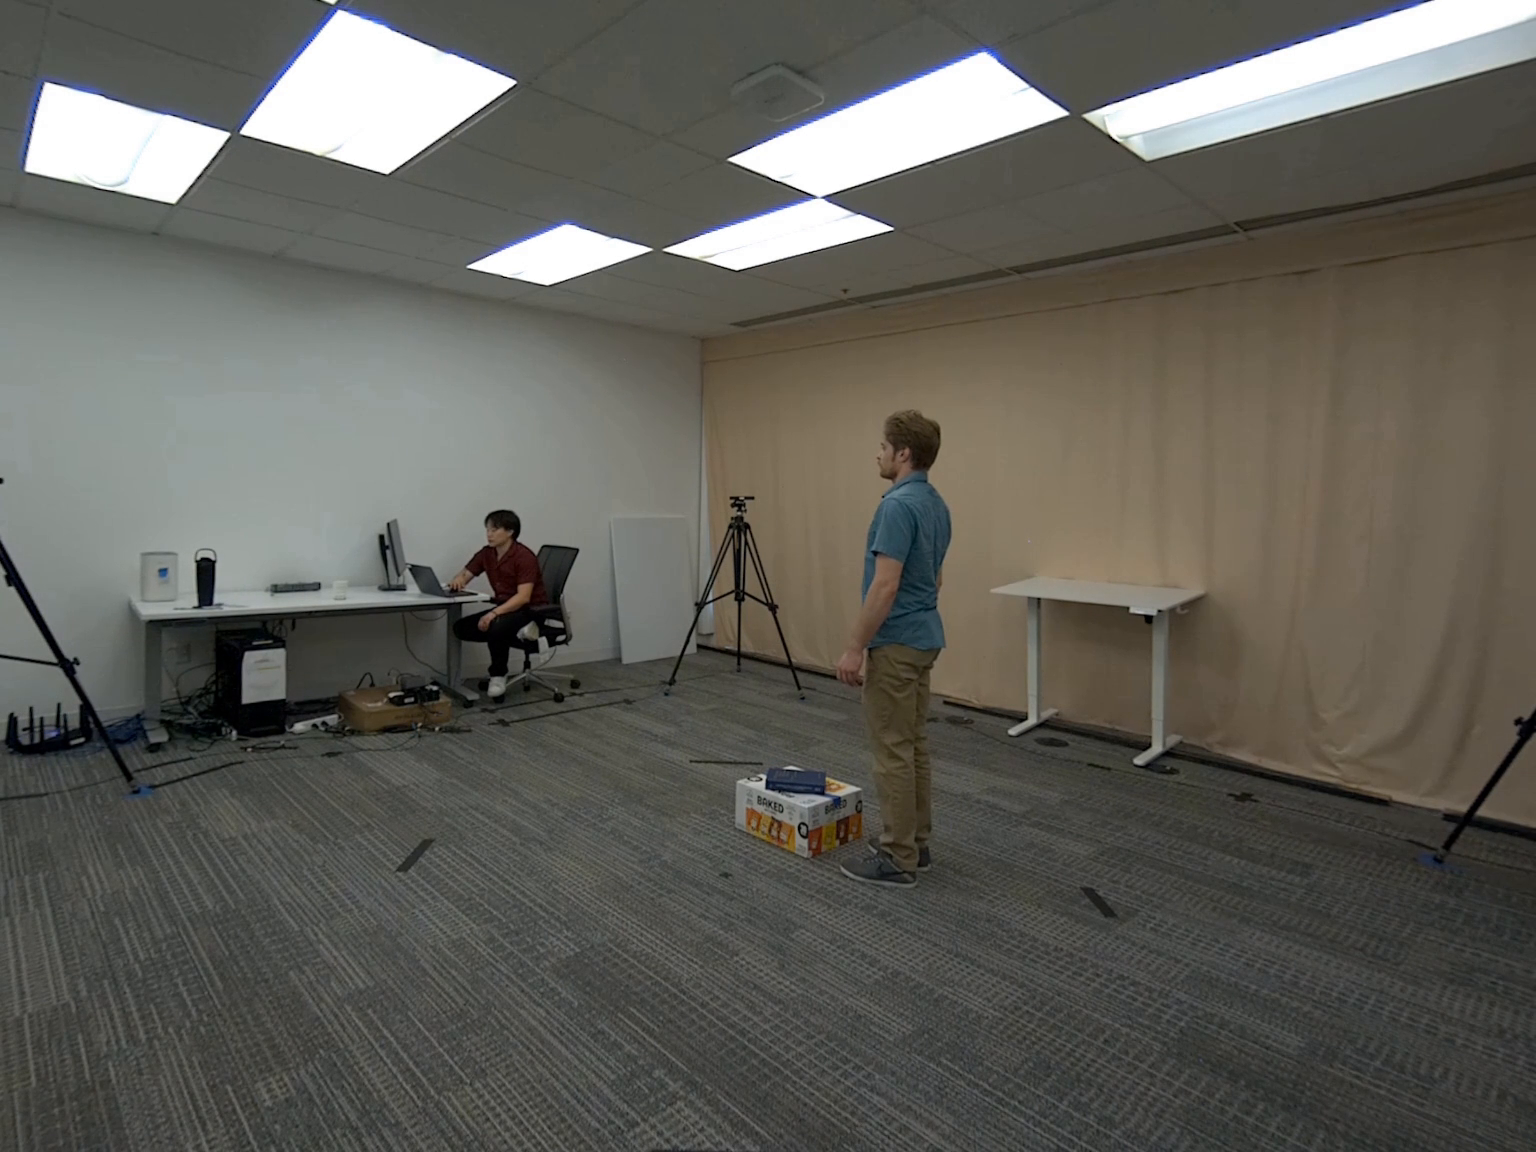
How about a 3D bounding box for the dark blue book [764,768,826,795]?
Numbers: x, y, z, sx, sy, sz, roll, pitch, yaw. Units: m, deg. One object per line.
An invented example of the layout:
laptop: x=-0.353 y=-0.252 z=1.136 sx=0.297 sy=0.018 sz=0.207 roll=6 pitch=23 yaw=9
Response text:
dark blue book: x=0.112 y=0.859 z=3.525 sx=0.247 sy=0.045 sz=0.163 roll=3 pitch=6 yaw=7
